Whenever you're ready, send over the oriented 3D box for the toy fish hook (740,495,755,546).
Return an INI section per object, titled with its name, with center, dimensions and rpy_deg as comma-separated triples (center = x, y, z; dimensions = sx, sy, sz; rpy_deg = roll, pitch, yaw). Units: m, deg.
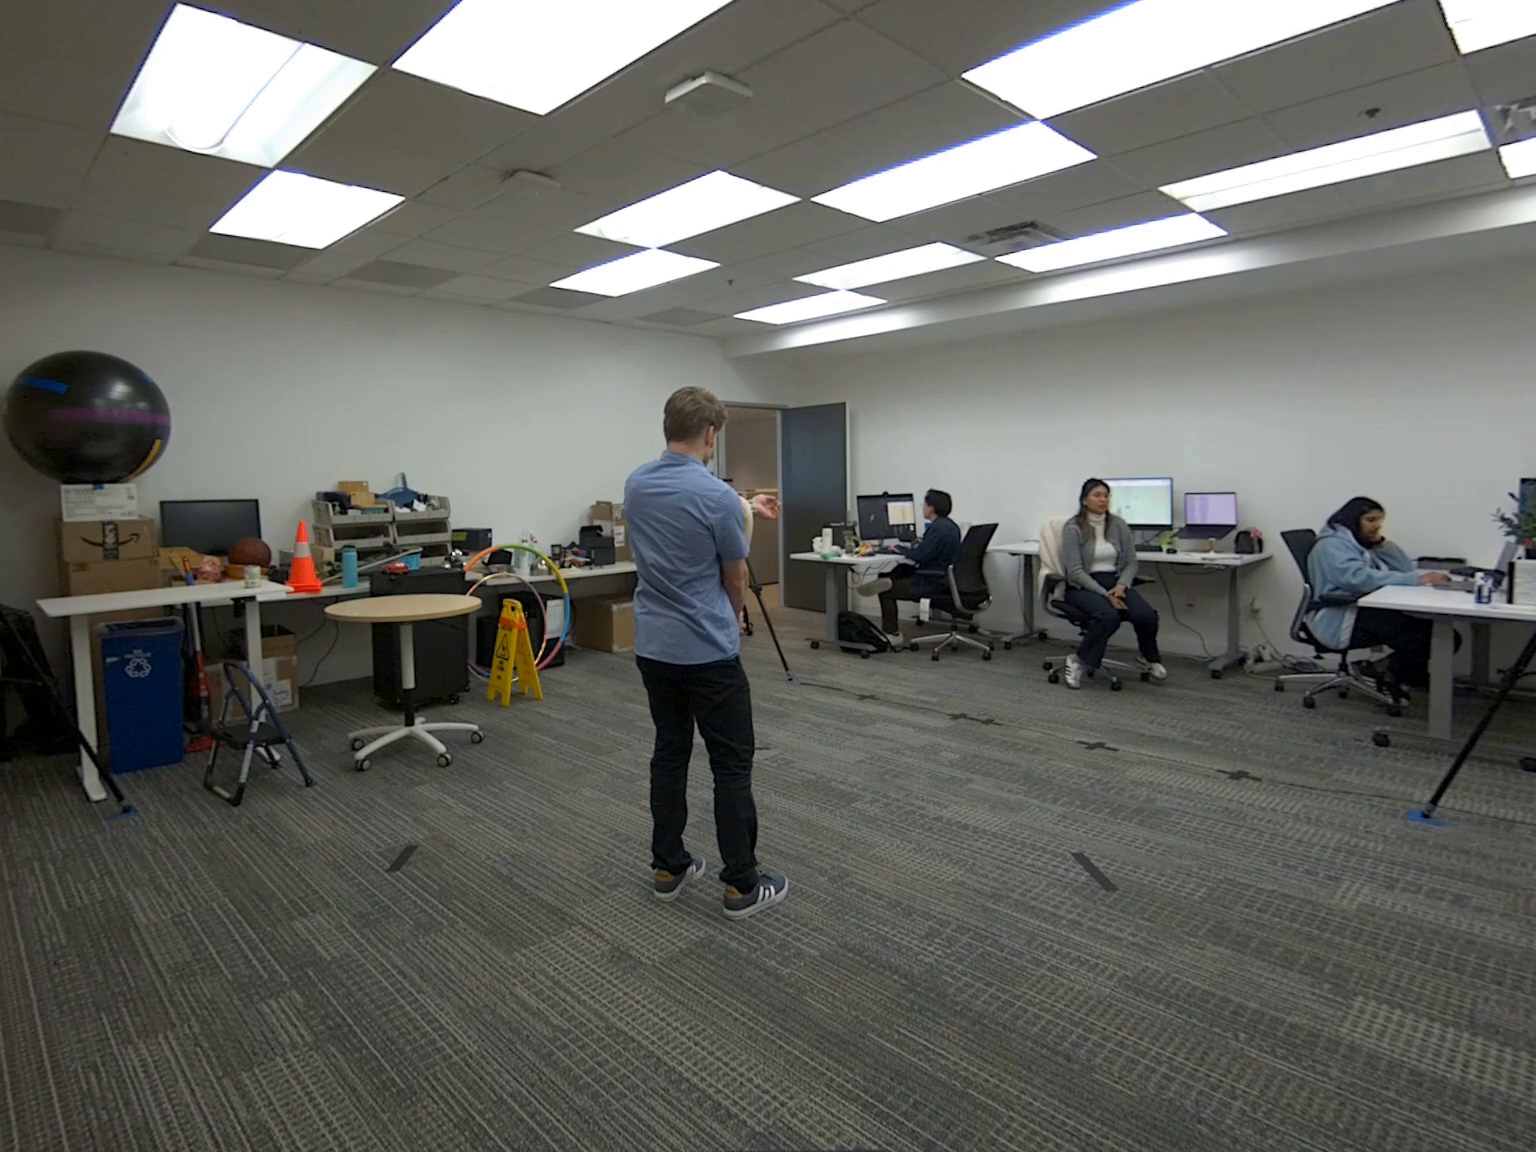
[toy fish hook]
center = -0.142, -0.054, 3.175
dimensions = 0.047, 0.500, 0.232
rpy_deg = 0, 18, -28
